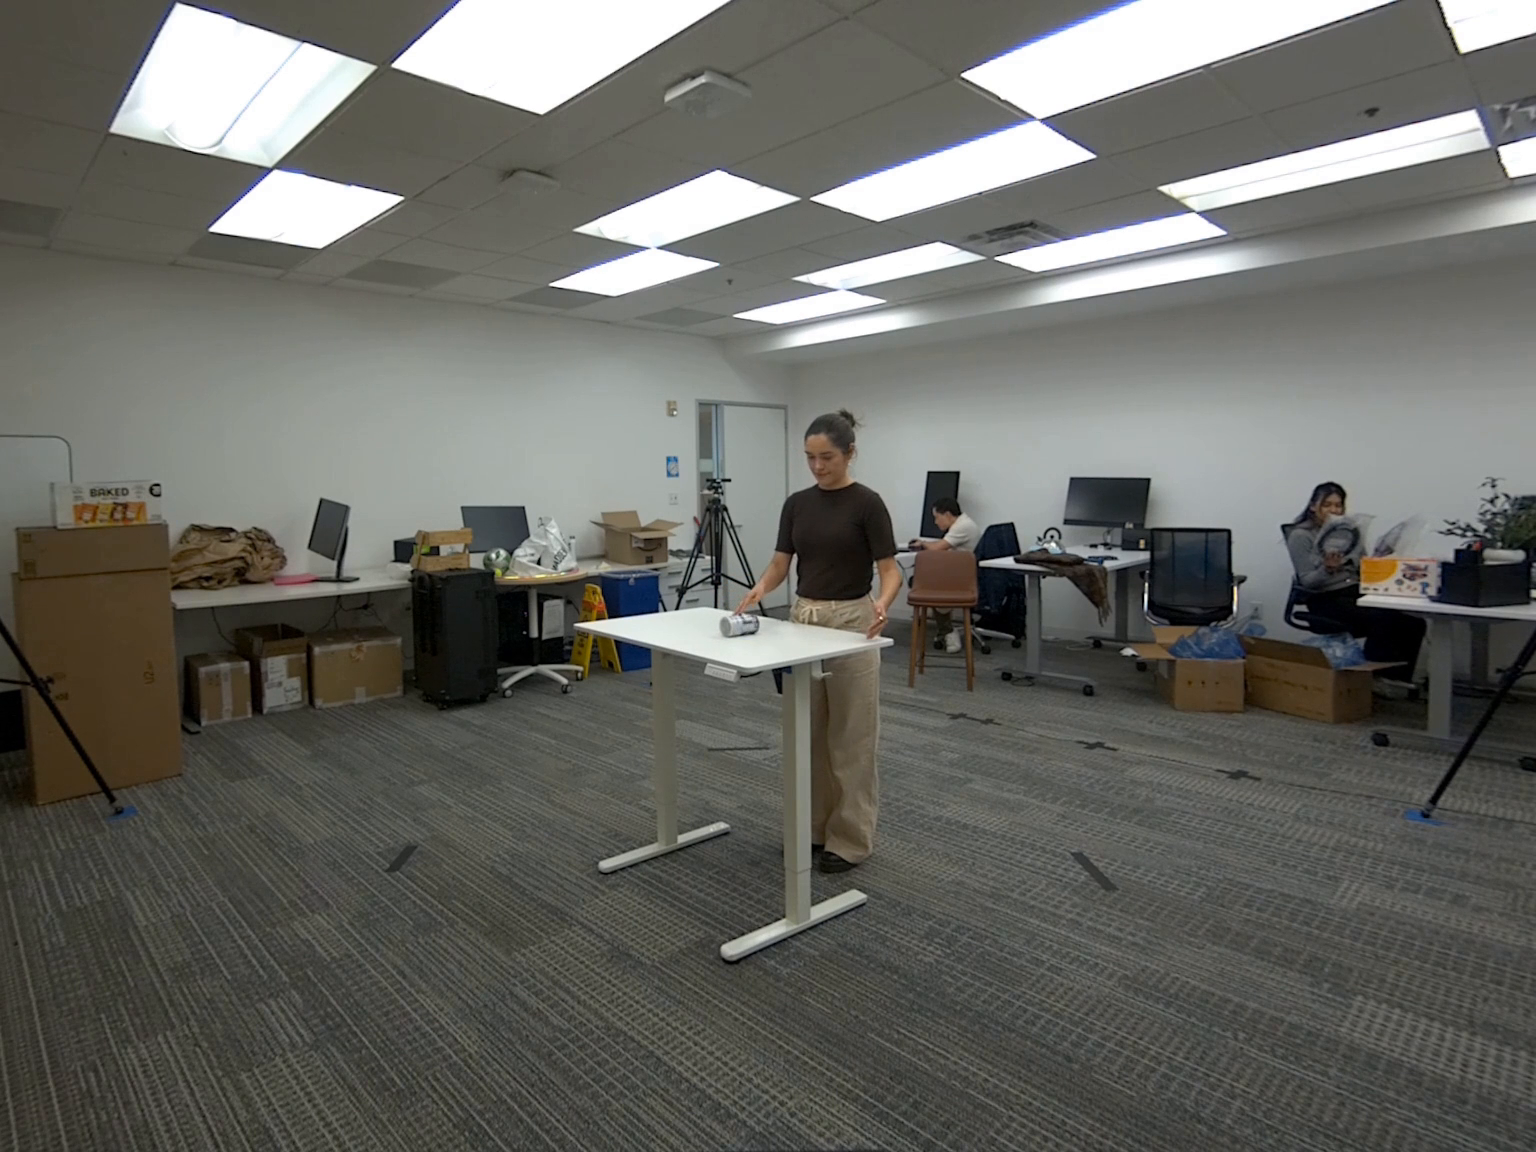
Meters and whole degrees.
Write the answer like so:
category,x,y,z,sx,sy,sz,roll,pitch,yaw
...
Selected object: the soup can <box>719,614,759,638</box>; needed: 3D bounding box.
category,x,y,z,sx,sy,sz,roll,pitch,yaw
soup can,-0.087,0.162,2.808,0.119,0.067,0.069,0,4,-25
